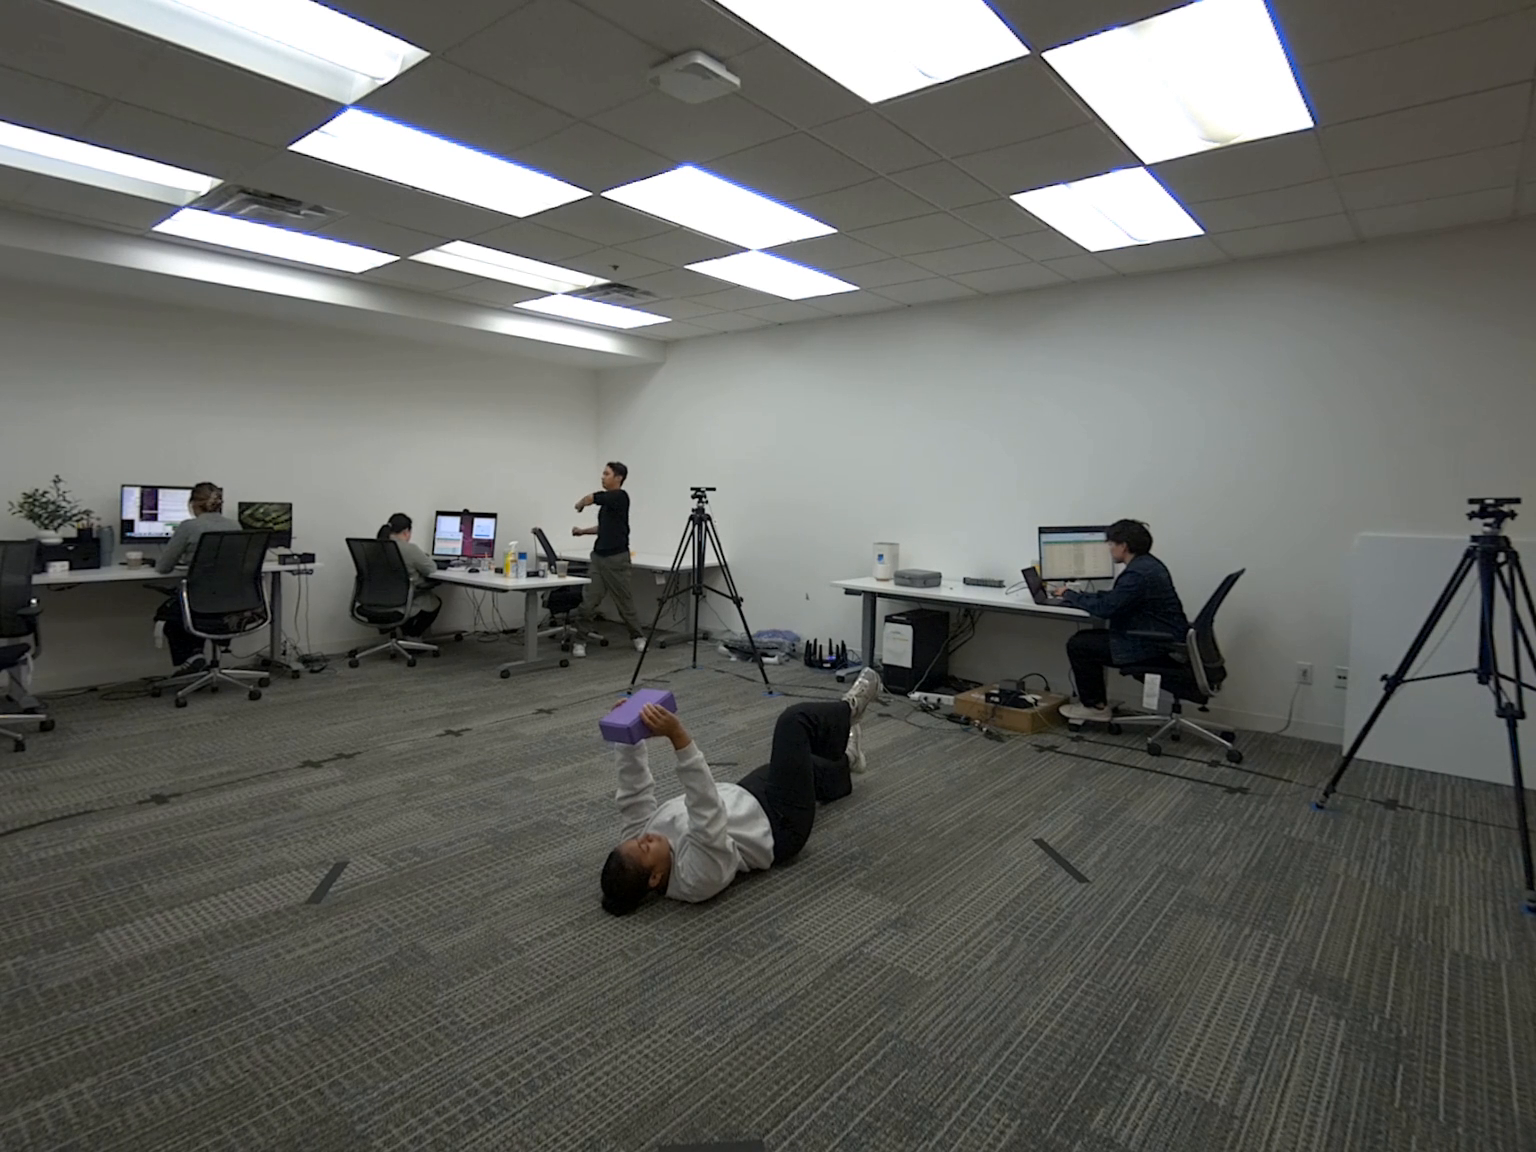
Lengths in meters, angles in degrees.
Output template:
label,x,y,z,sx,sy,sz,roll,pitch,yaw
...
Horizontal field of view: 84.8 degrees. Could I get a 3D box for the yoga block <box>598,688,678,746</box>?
label,x,y,z,sx,sy,sz,roll,pitch,yaw
yoga block,-0.439,0.462,2.799,0.153,0.075,0.227,-3,20,38
